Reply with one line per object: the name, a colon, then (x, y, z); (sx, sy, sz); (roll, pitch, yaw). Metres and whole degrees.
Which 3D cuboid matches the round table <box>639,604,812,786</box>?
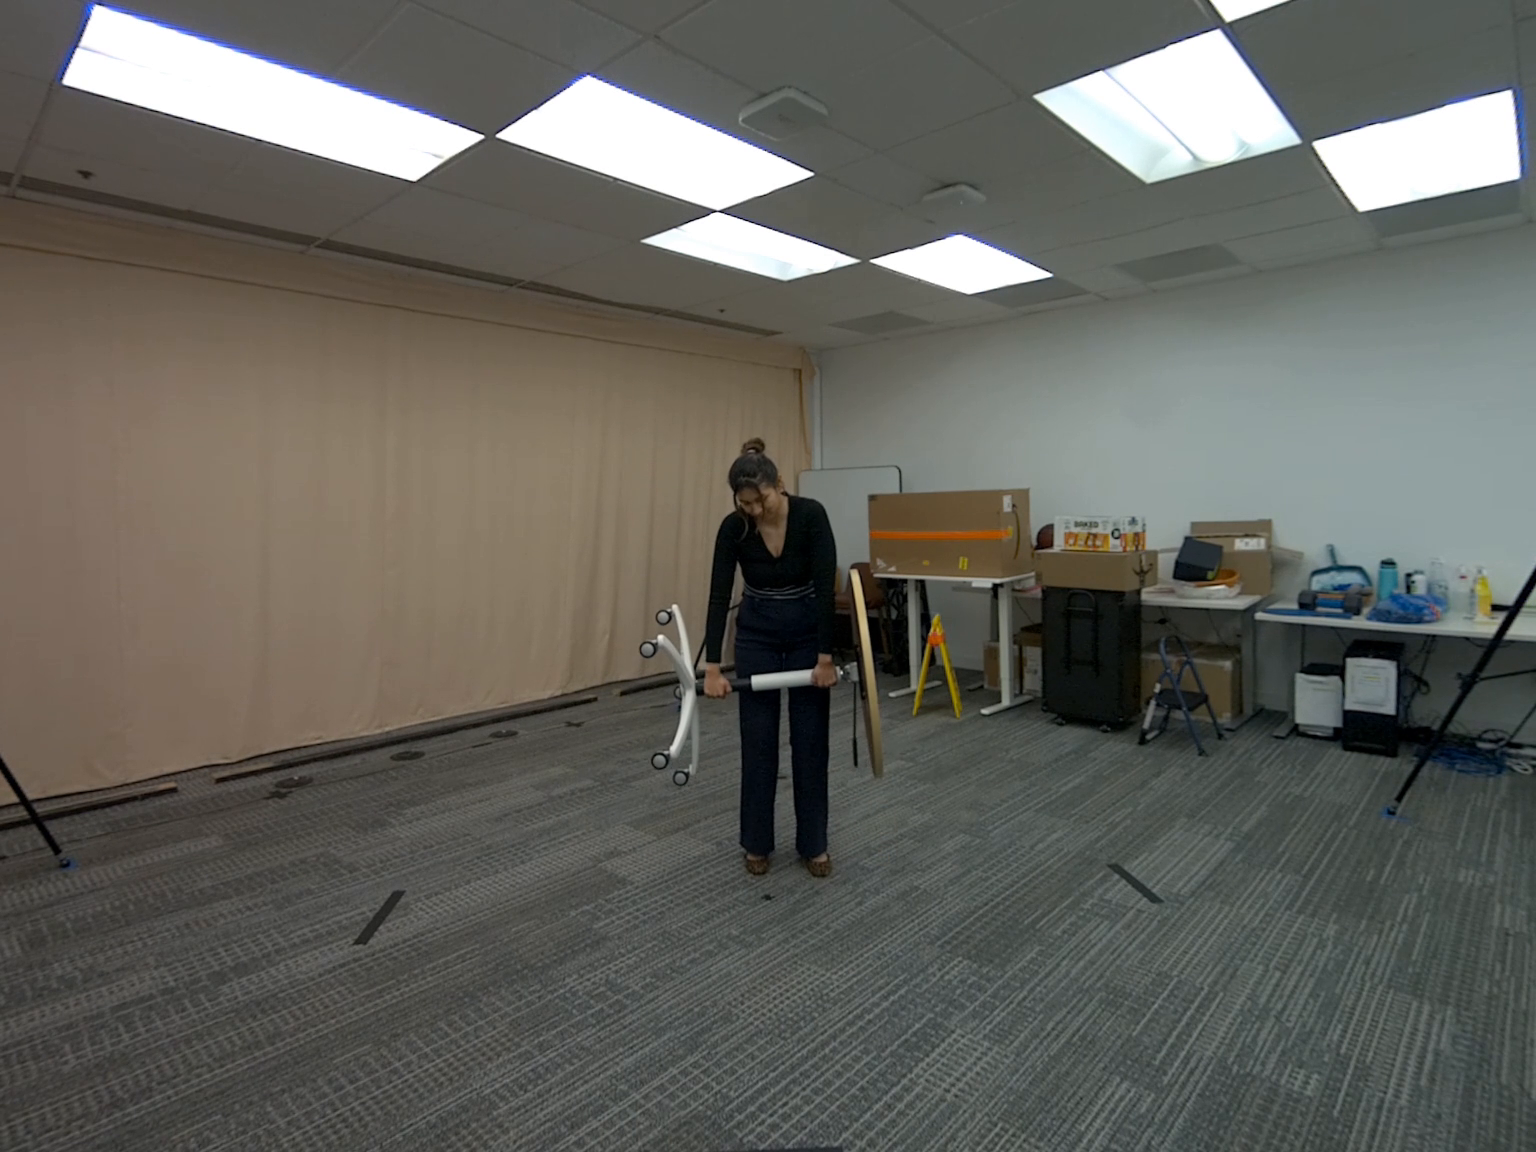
round table: (-0.020, 0.415, 3.173); (0.798, 0.762, 0.762); (-7, 3, 4)
